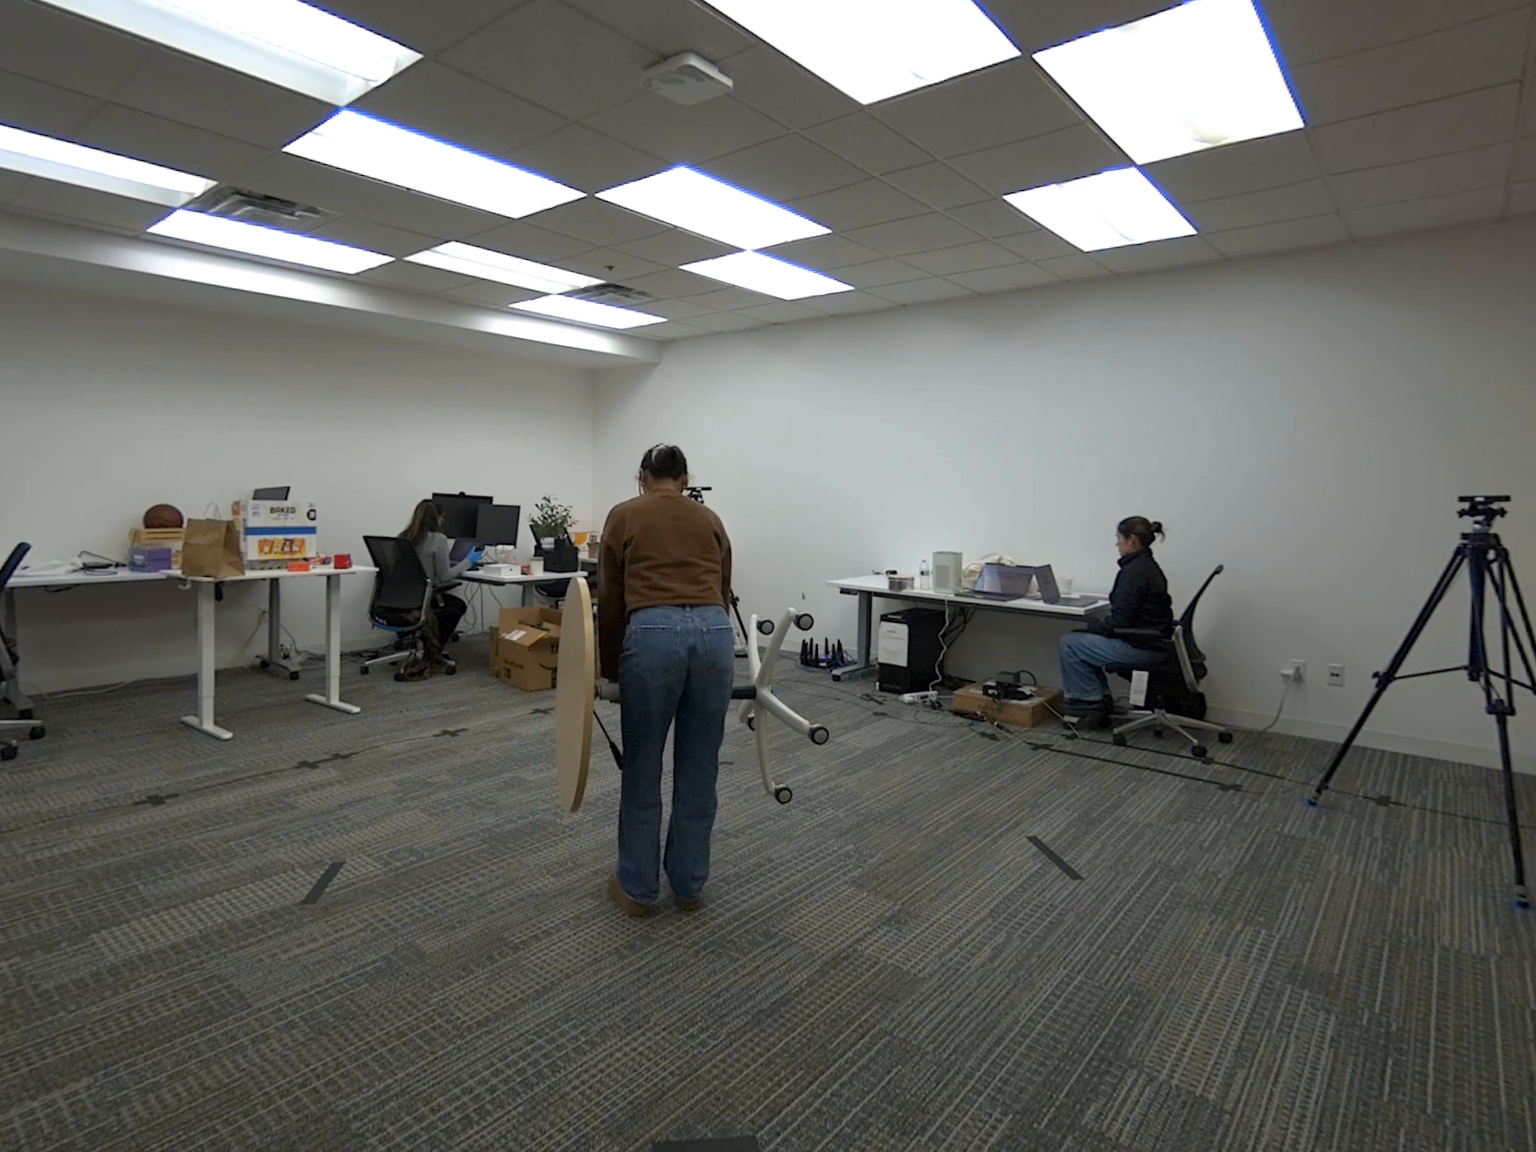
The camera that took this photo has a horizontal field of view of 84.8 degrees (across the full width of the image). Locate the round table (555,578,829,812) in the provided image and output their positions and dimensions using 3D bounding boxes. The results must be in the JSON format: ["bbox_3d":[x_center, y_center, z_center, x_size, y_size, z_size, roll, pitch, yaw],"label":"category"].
[{"bbox_3d":[-0.302,0.415,2.953,0.778,0.763,0.781,4,3,-19],"label":"round table"}]
